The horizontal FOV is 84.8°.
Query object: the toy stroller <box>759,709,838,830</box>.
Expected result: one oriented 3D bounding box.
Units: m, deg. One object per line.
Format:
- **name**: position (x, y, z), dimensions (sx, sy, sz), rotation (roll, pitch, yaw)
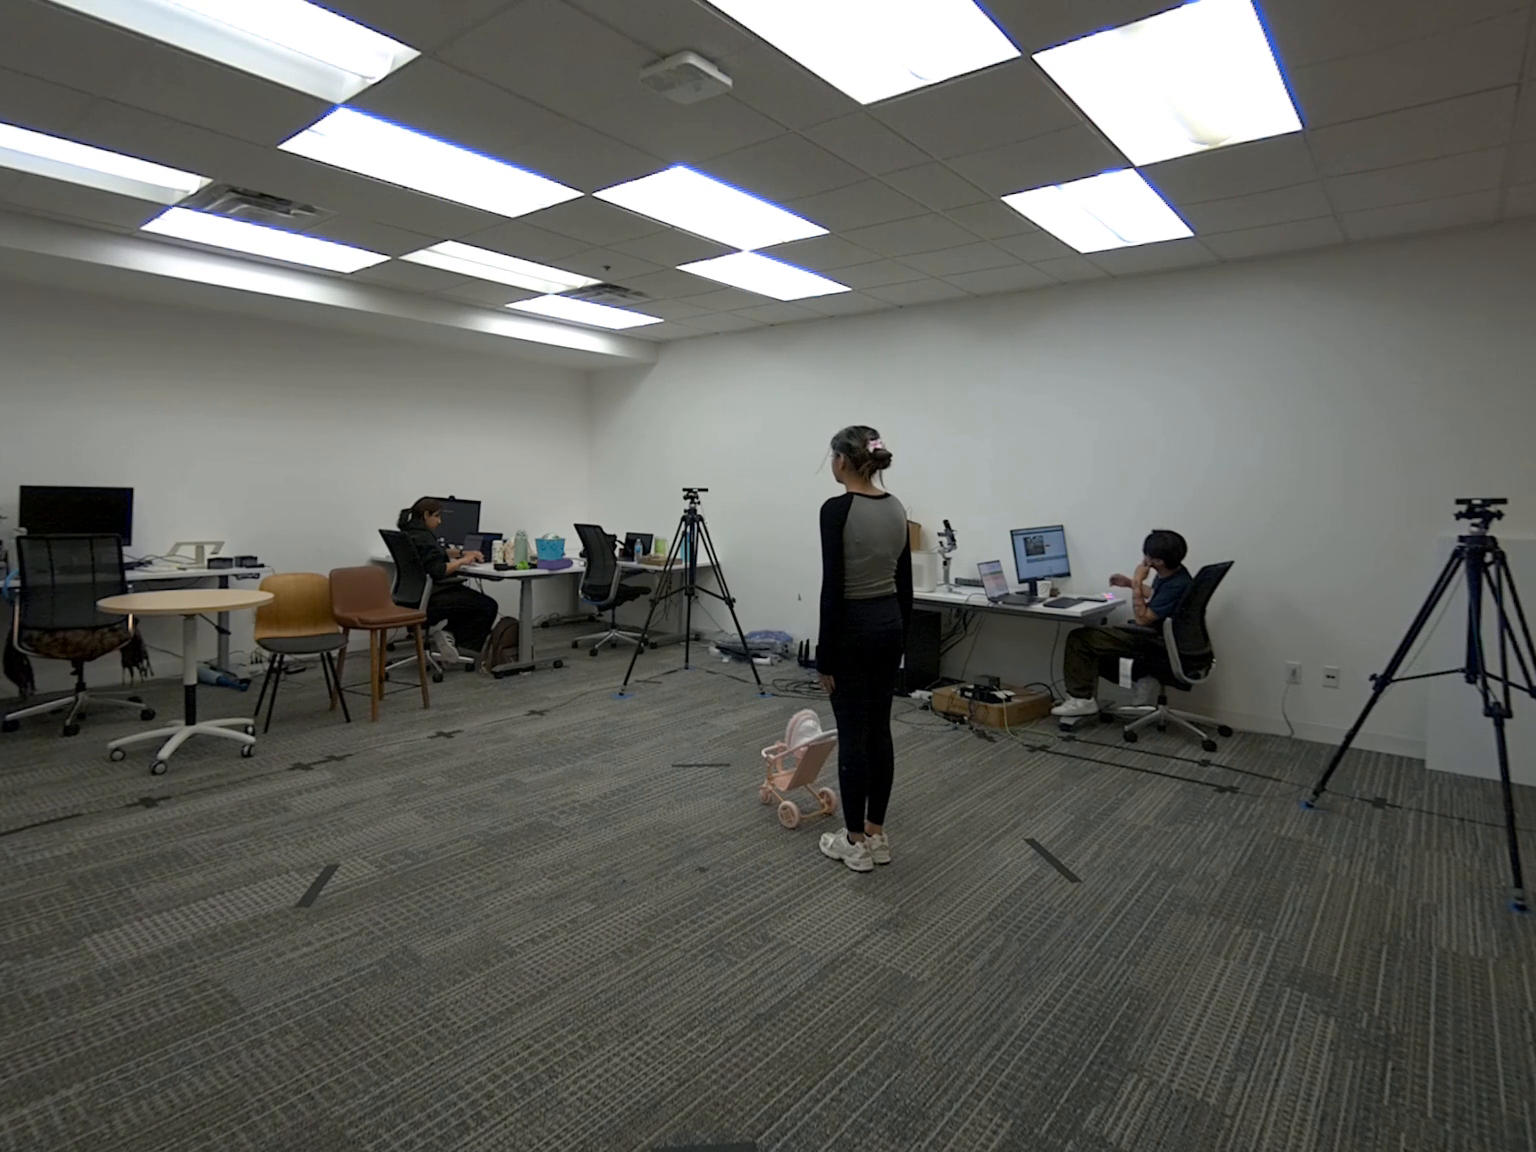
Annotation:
- **toy stroller**: position (0.126, 0.803, 3.640), dimensions (0.273, 0.529, 0.356), rotation (-1, 21, -41)
